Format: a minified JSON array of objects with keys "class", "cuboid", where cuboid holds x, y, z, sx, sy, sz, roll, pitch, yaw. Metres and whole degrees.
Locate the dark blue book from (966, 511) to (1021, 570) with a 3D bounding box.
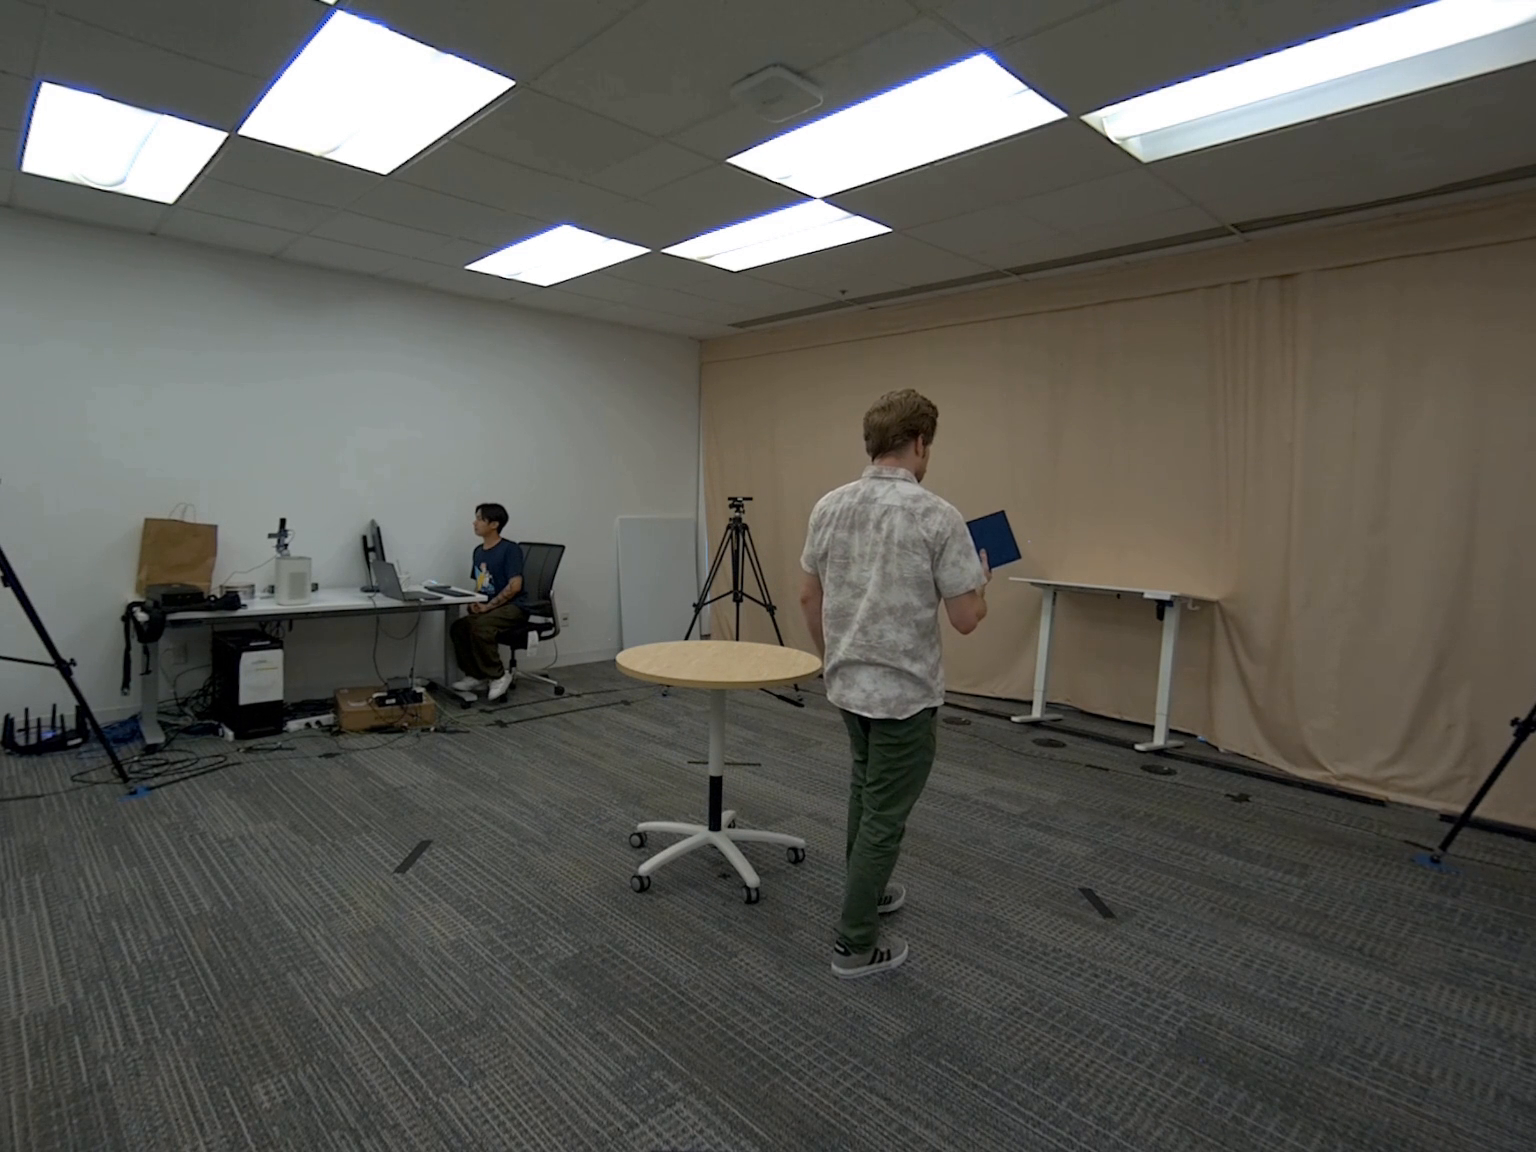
[{"class":"dark blue book","cuboid":[0.637,-0.095,2.615,0.244,0.164,0.045,-18,-6,-5]}]
